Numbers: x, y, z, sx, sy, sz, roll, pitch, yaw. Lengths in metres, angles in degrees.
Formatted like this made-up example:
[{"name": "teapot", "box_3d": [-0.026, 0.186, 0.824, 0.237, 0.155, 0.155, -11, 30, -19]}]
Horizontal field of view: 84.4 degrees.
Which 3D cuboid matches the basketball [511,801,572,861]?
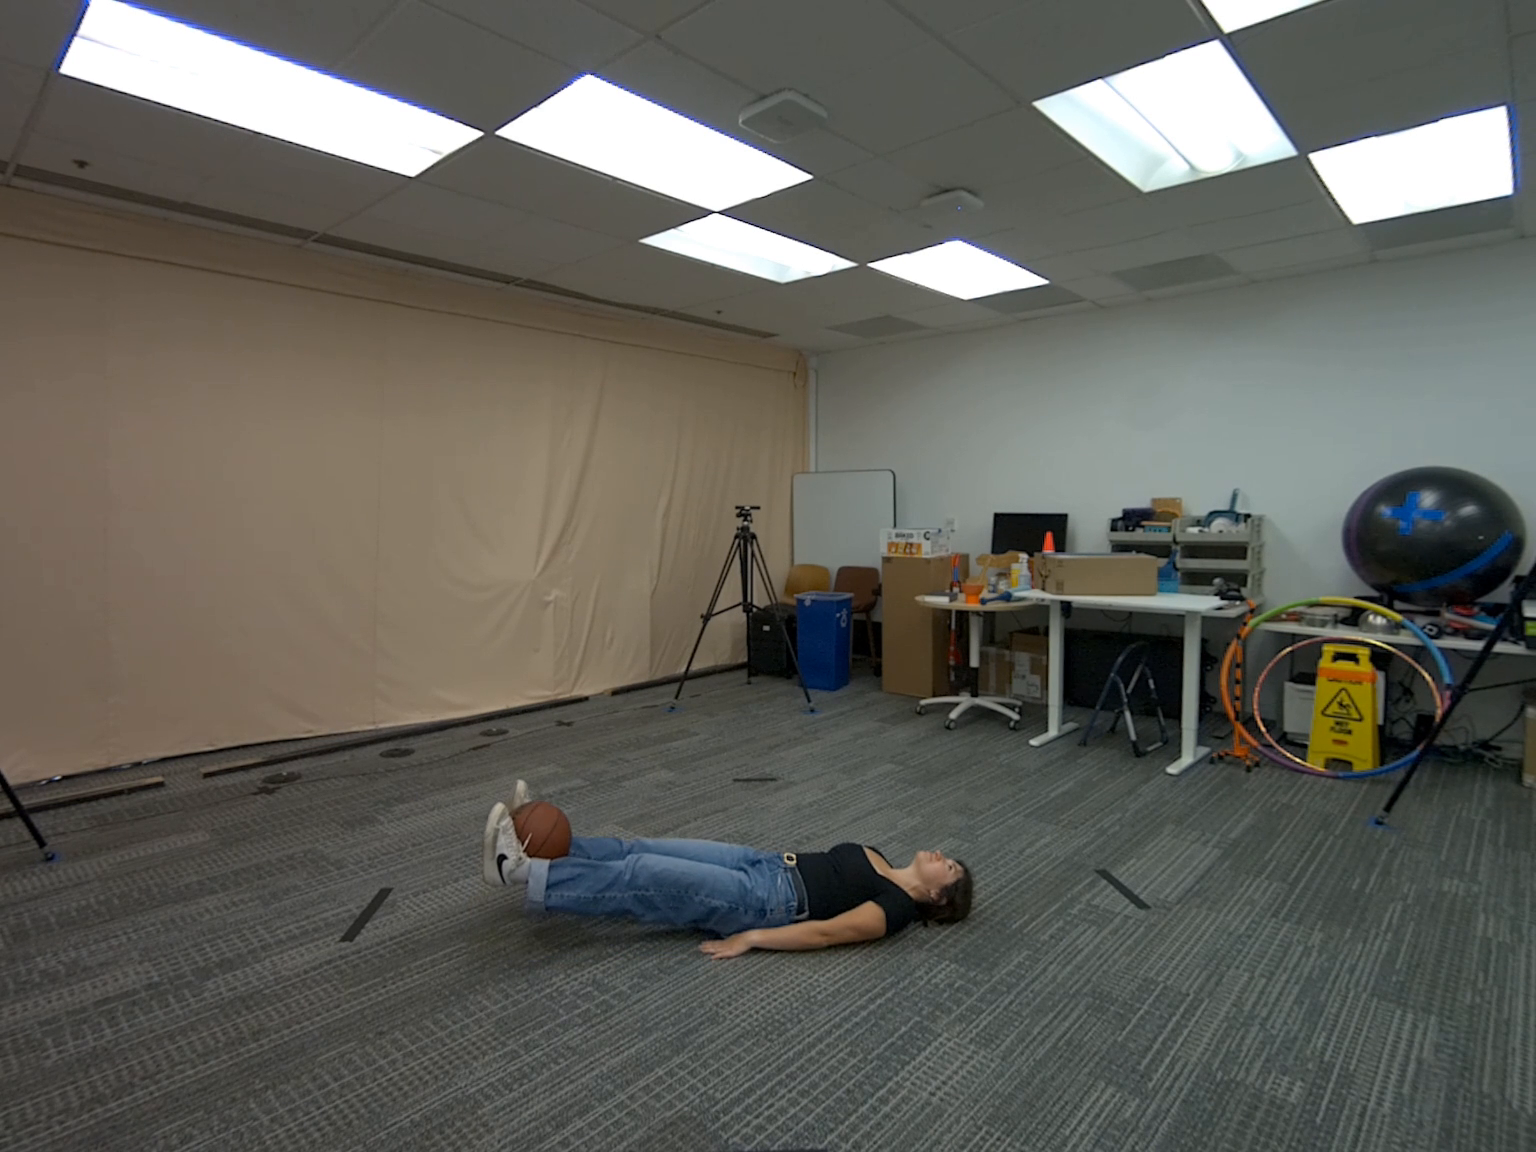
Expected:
[{"name": "basketball", "box_3d": [-0.769, 0.866, 2.783, 0.236, 0.235, 0.237, 0, 4, -2]}]
